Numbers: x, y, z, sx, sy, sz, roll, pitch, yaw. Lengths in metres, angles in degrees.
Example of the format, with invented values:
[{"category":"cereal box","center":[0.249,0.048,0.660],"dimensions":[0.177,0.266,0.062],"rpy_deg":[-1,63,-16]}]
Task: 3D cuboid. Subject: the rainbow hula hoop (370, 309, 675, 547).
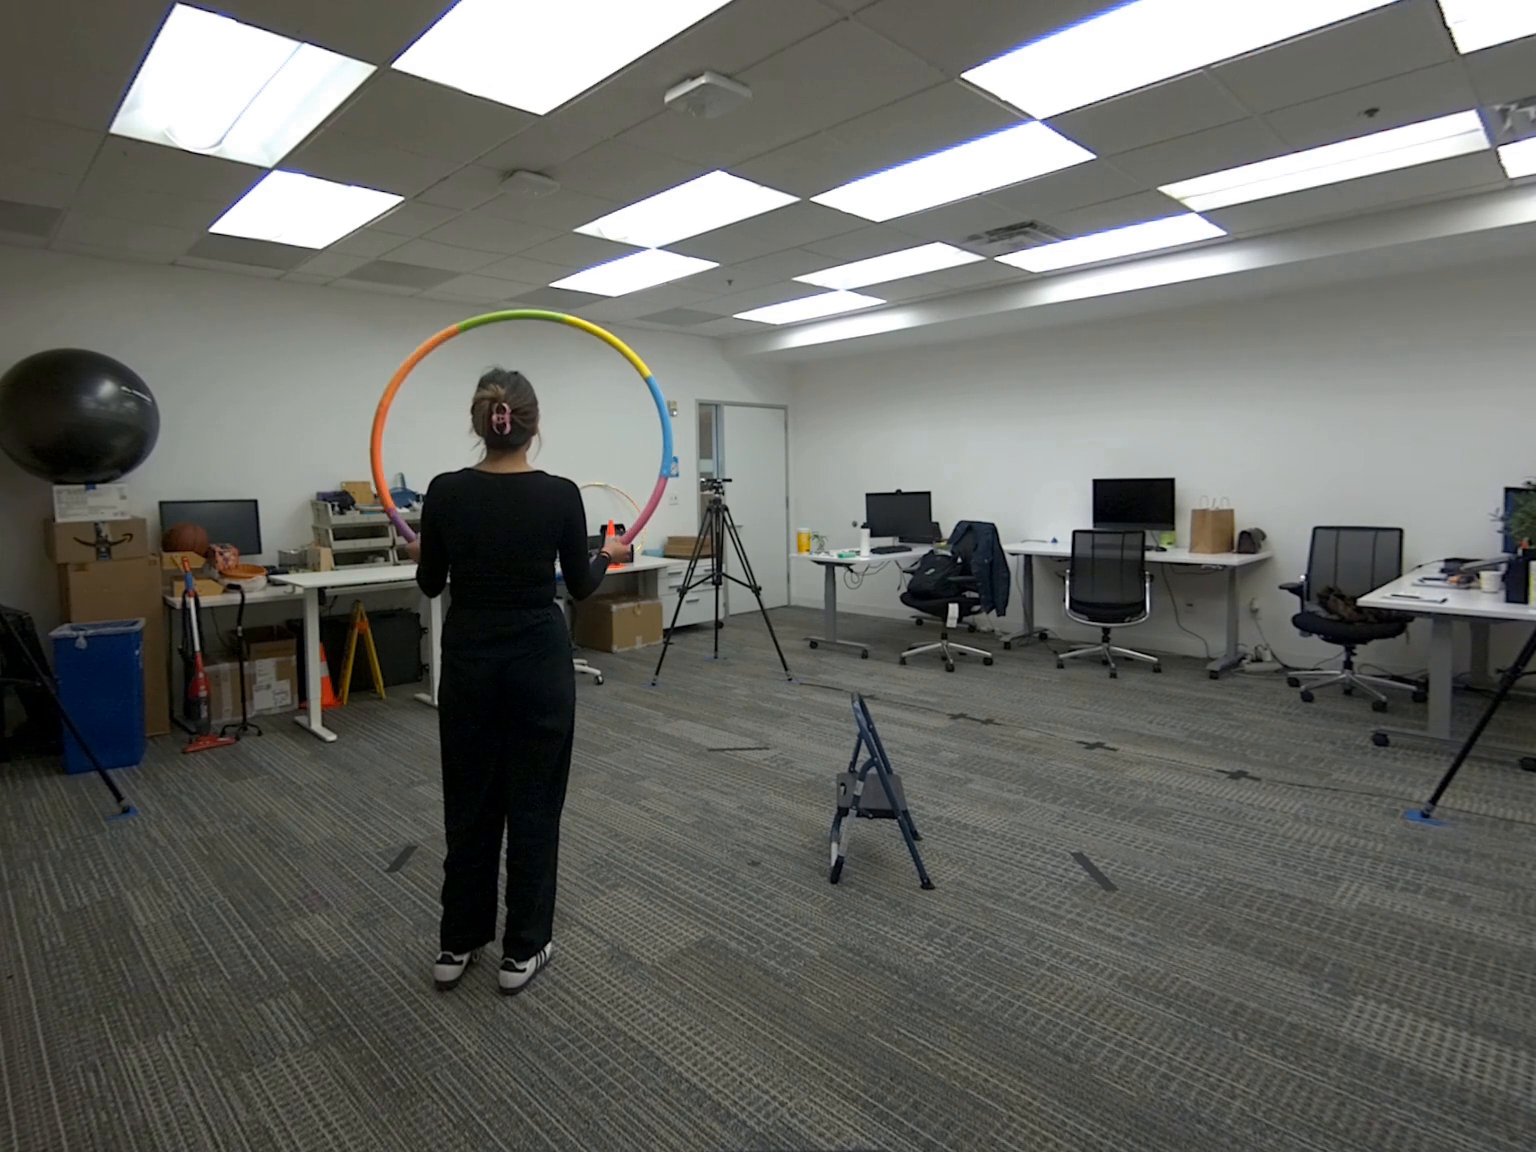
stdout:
[{"category":"rainbow hula hoop","center":[-0.813,-0.436,2.842],"dimensions":[0.973,0.993,0.035],"rpy_deg":[-2,-16,-6]}]
